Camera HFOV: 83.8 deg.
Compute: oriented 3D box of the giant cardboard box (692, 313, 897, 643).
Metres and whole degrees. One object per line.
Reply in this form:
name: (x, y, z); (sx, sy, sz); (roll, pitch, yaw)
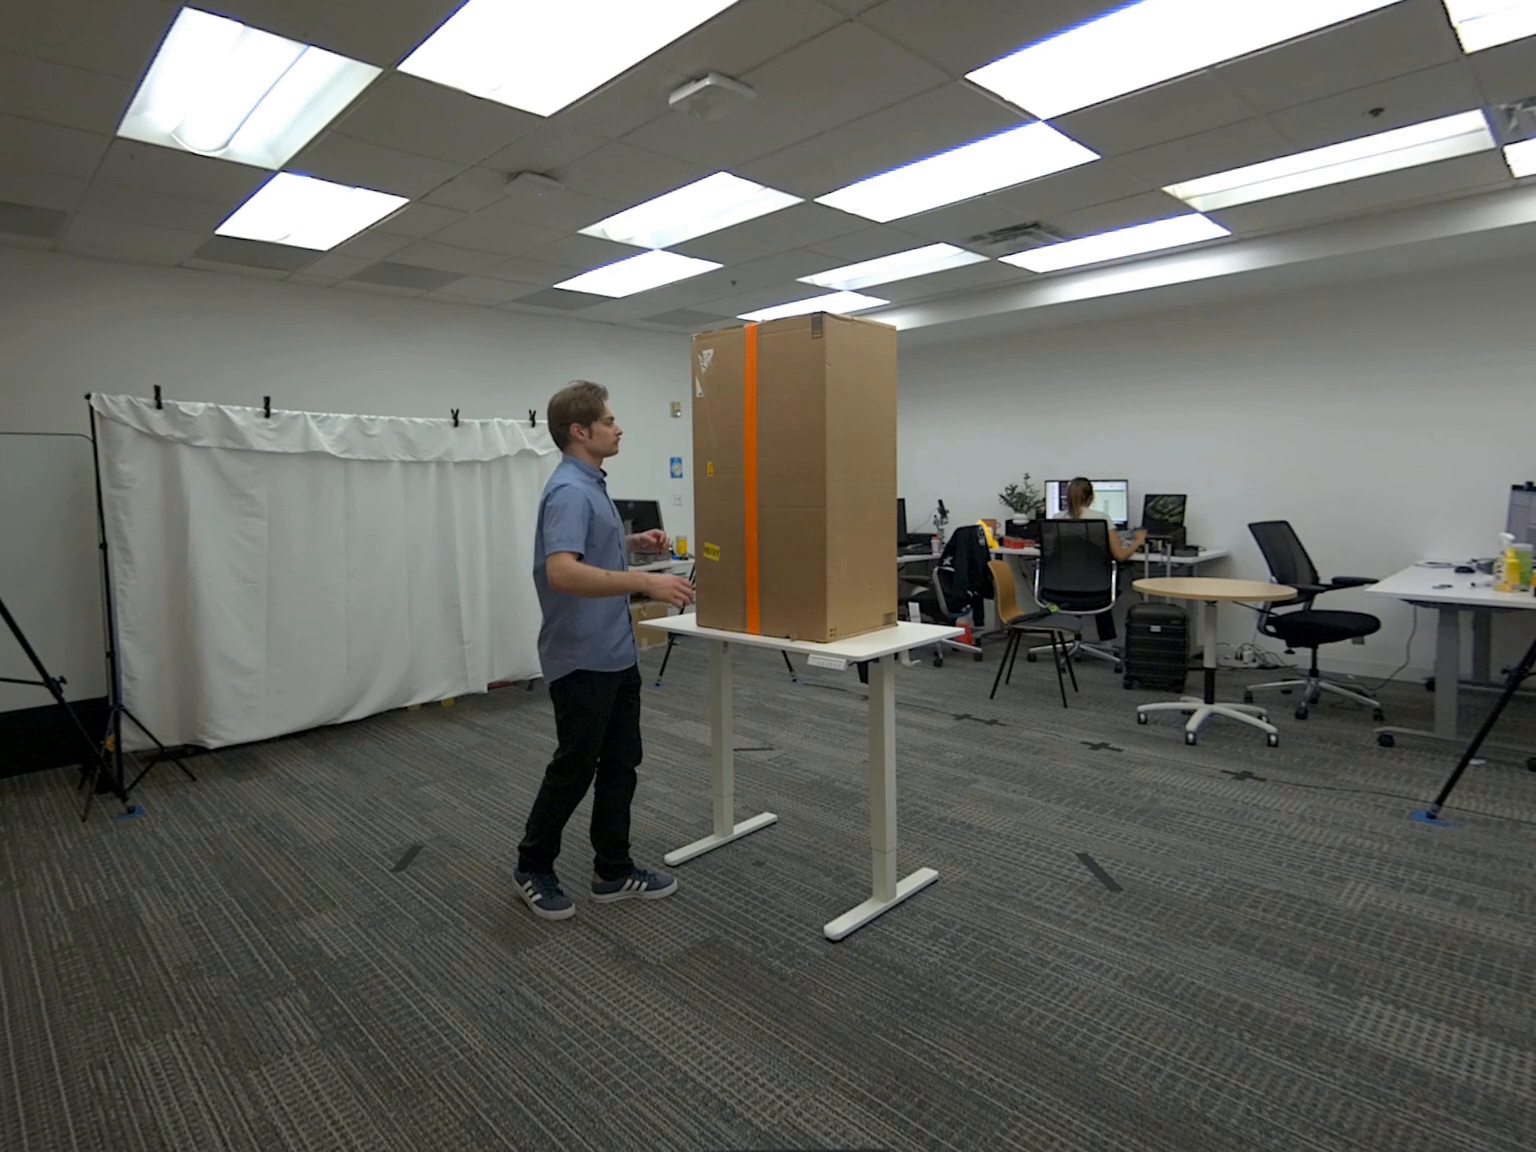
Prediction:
giant cardboard box: (0.088, -0.330, 2.953); (0.595, 1.022, 0.415); (3, 5, 42)
